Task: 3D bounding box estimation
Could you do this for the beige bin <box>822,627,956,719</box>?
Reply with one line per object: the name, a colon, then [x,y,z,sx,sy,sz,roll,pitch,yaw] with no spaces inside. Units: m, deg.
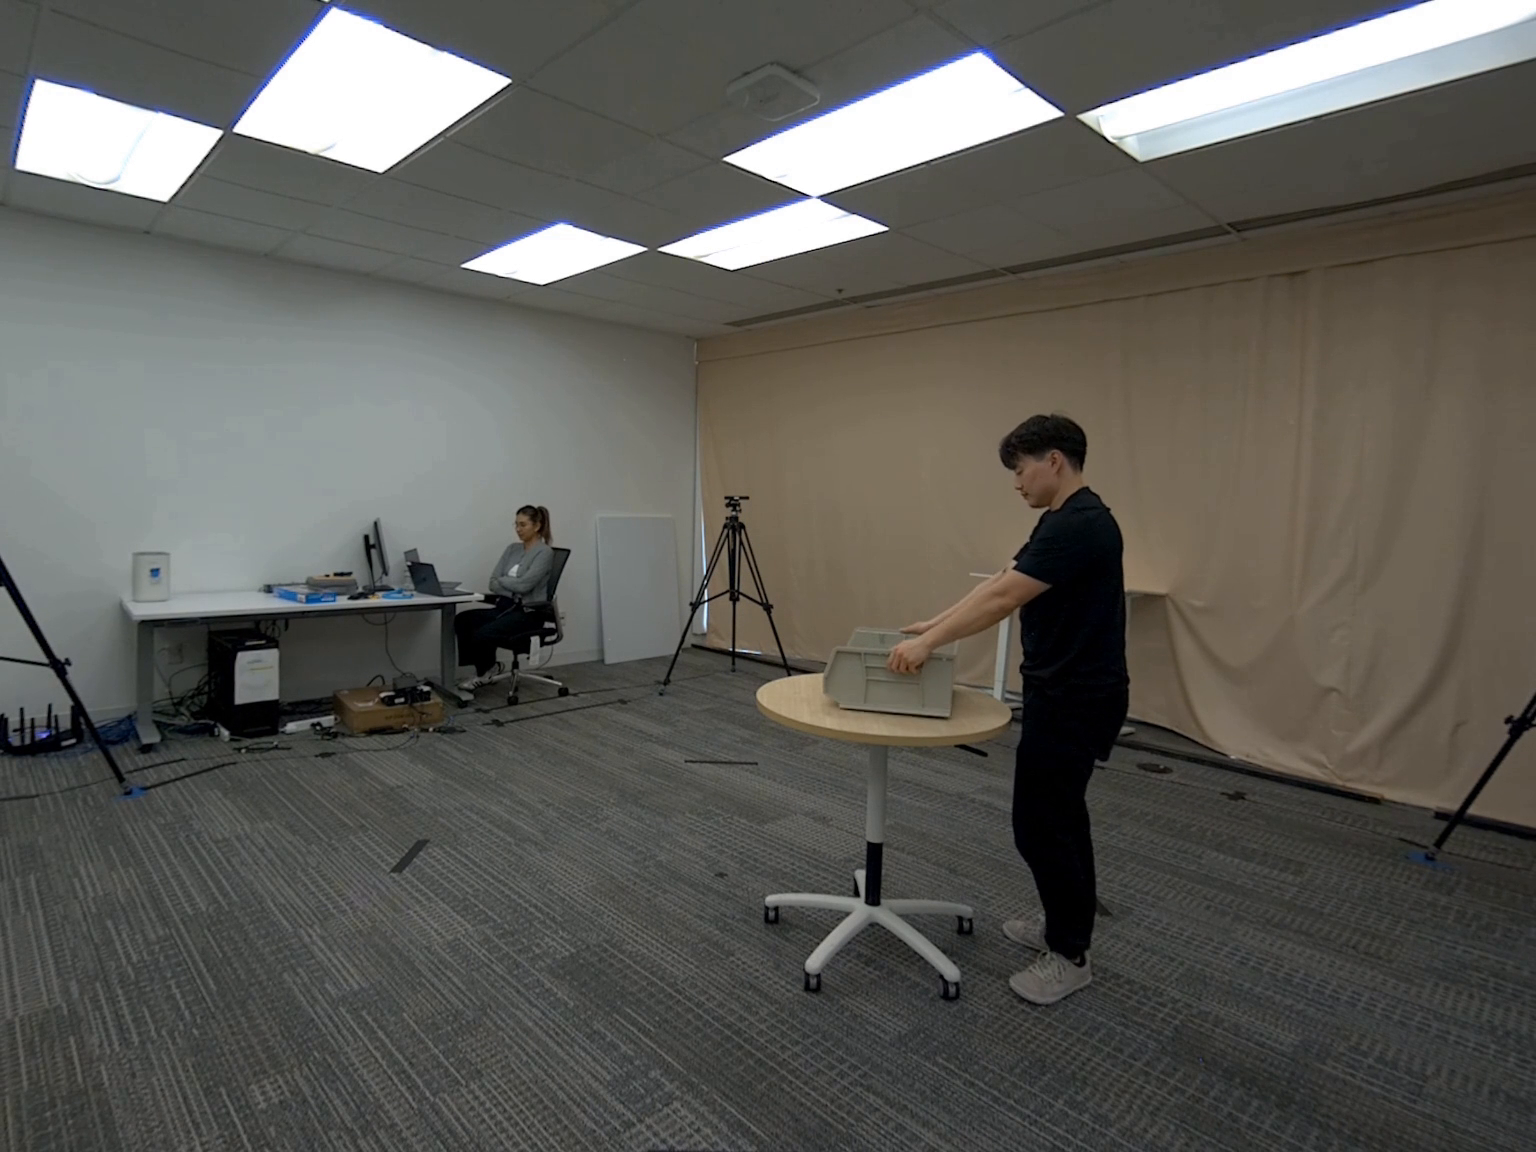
beige bin: [0.389,0.284,2.610,0.382,0.188,0.418,4,4,13]
